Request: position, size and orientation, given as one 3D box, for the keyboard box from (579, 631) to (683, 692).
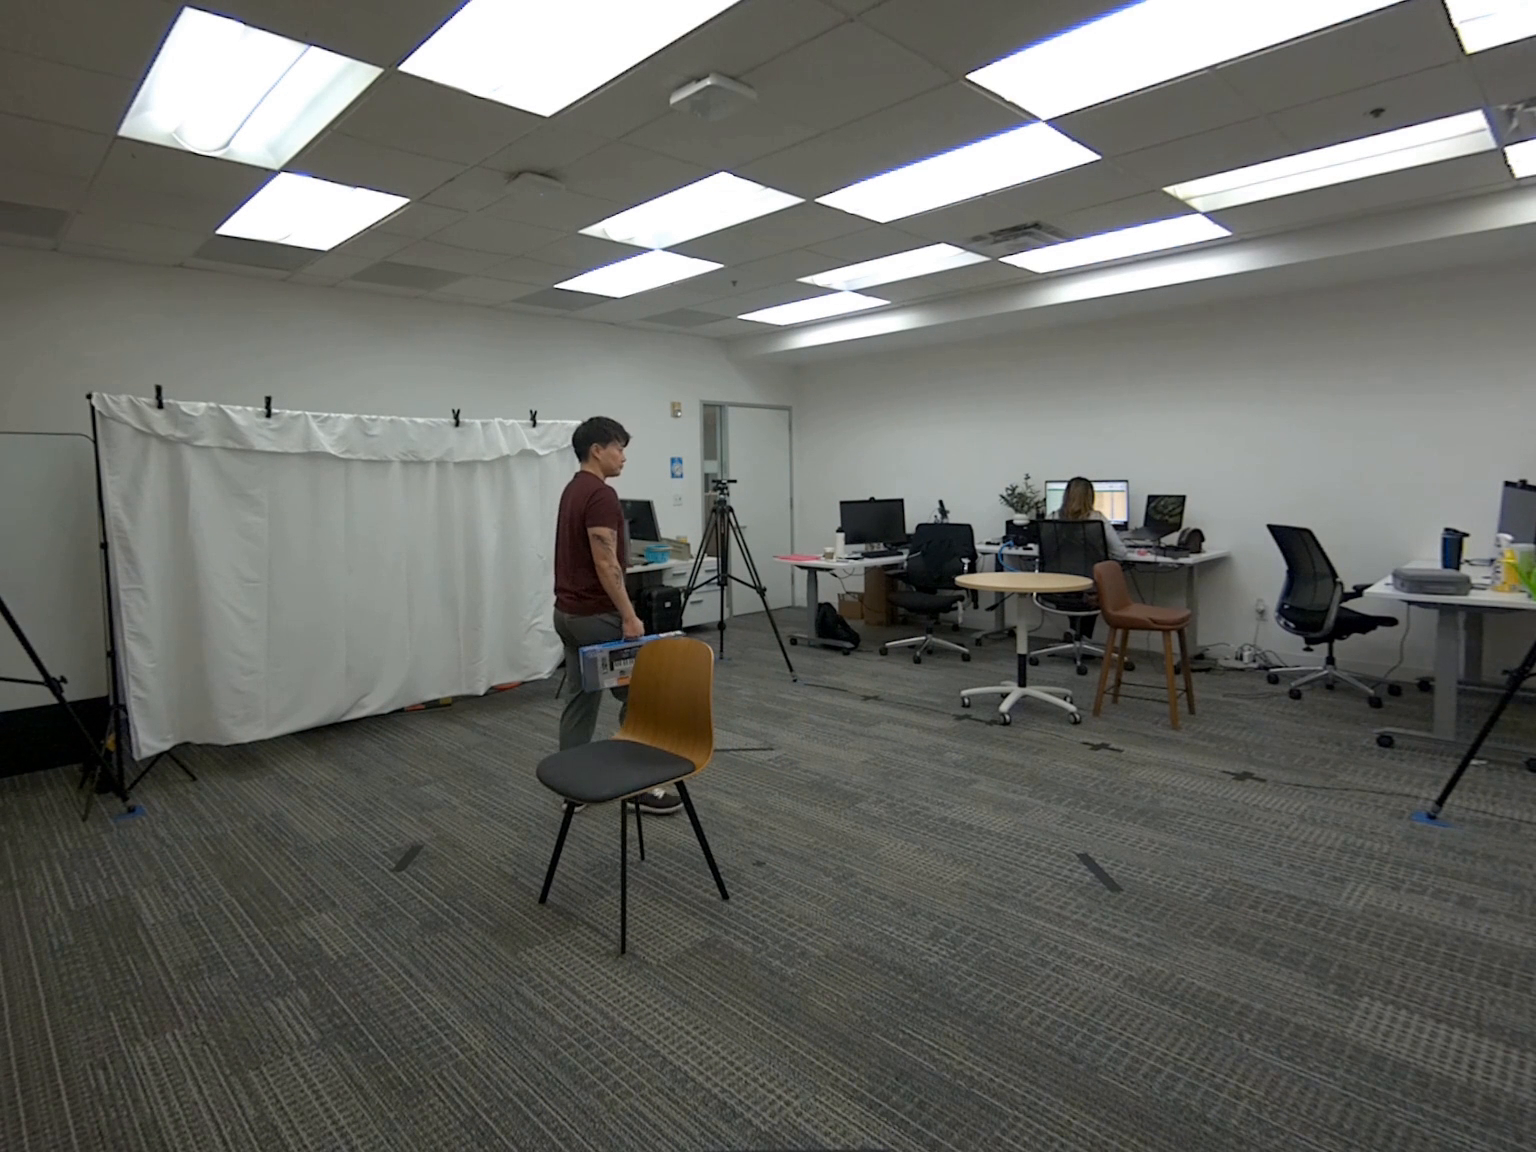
[{"bbox_3d":[-0.542,0.350,3.484,0.429,0.174,0.061,-8,12,-22],"label":"keyboard box"}]
